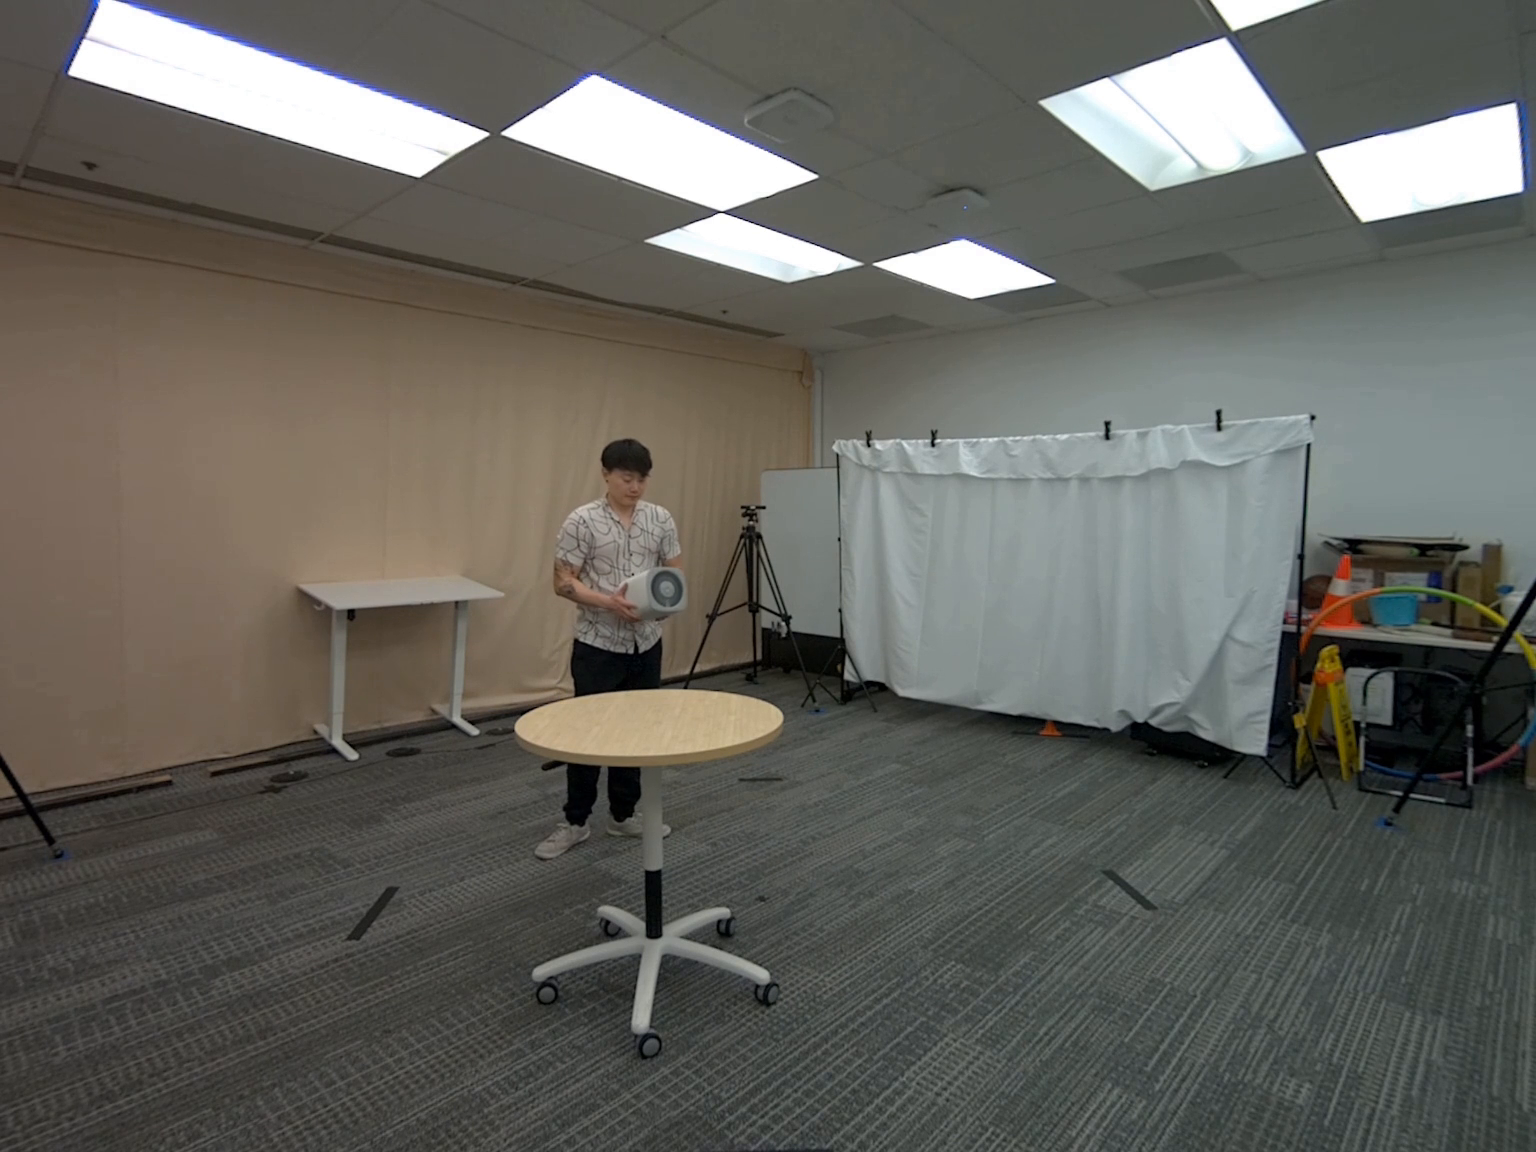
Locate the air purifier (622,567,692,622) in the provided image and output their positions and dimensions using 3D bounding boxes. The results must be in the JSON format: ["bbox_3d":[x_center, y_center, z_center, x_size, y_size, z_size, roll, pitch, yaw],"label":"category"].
[{"bbox_3d":[-0.450,0.077,3.253,0.166,0.173,0.271,1,-13,-37],"label":"air purifier"}]
